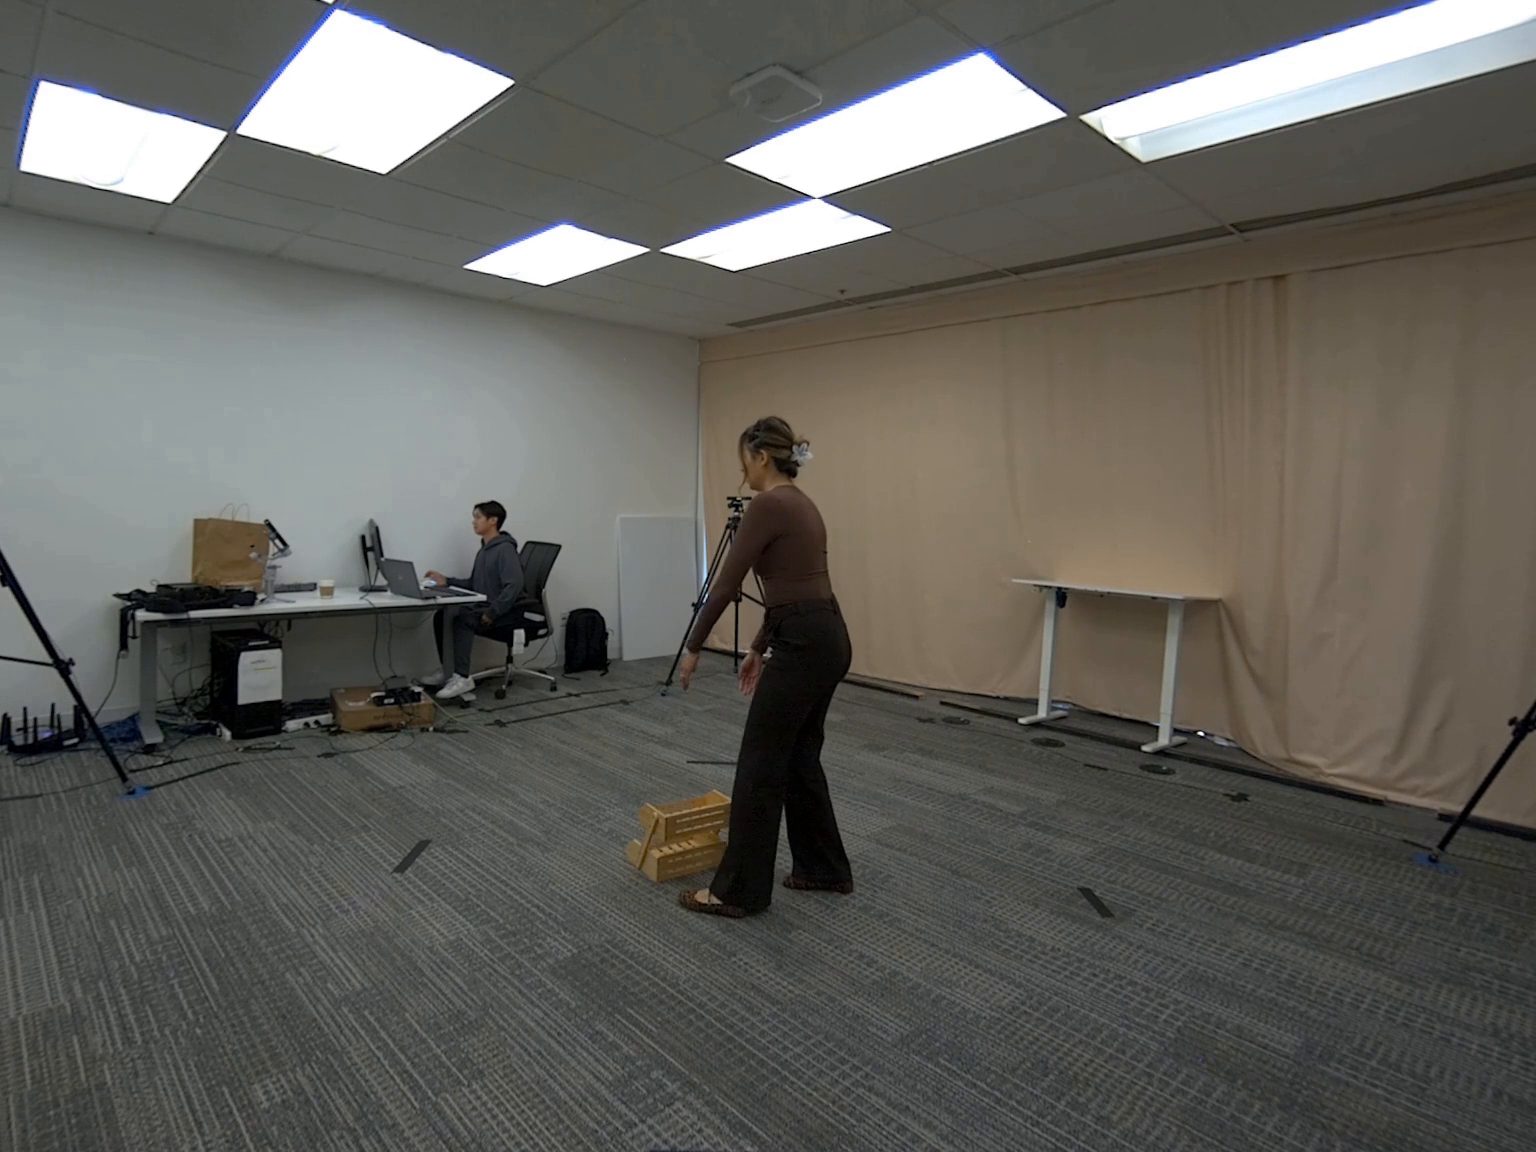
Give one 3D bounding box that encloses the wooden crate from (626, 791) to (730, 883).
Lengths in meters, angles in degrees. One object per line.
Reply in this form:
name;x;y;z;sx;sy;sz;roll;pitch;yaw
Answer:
wooden crate;-0.344;0.961;3.191;0.317;0.272;0.309;-2;6;-36
